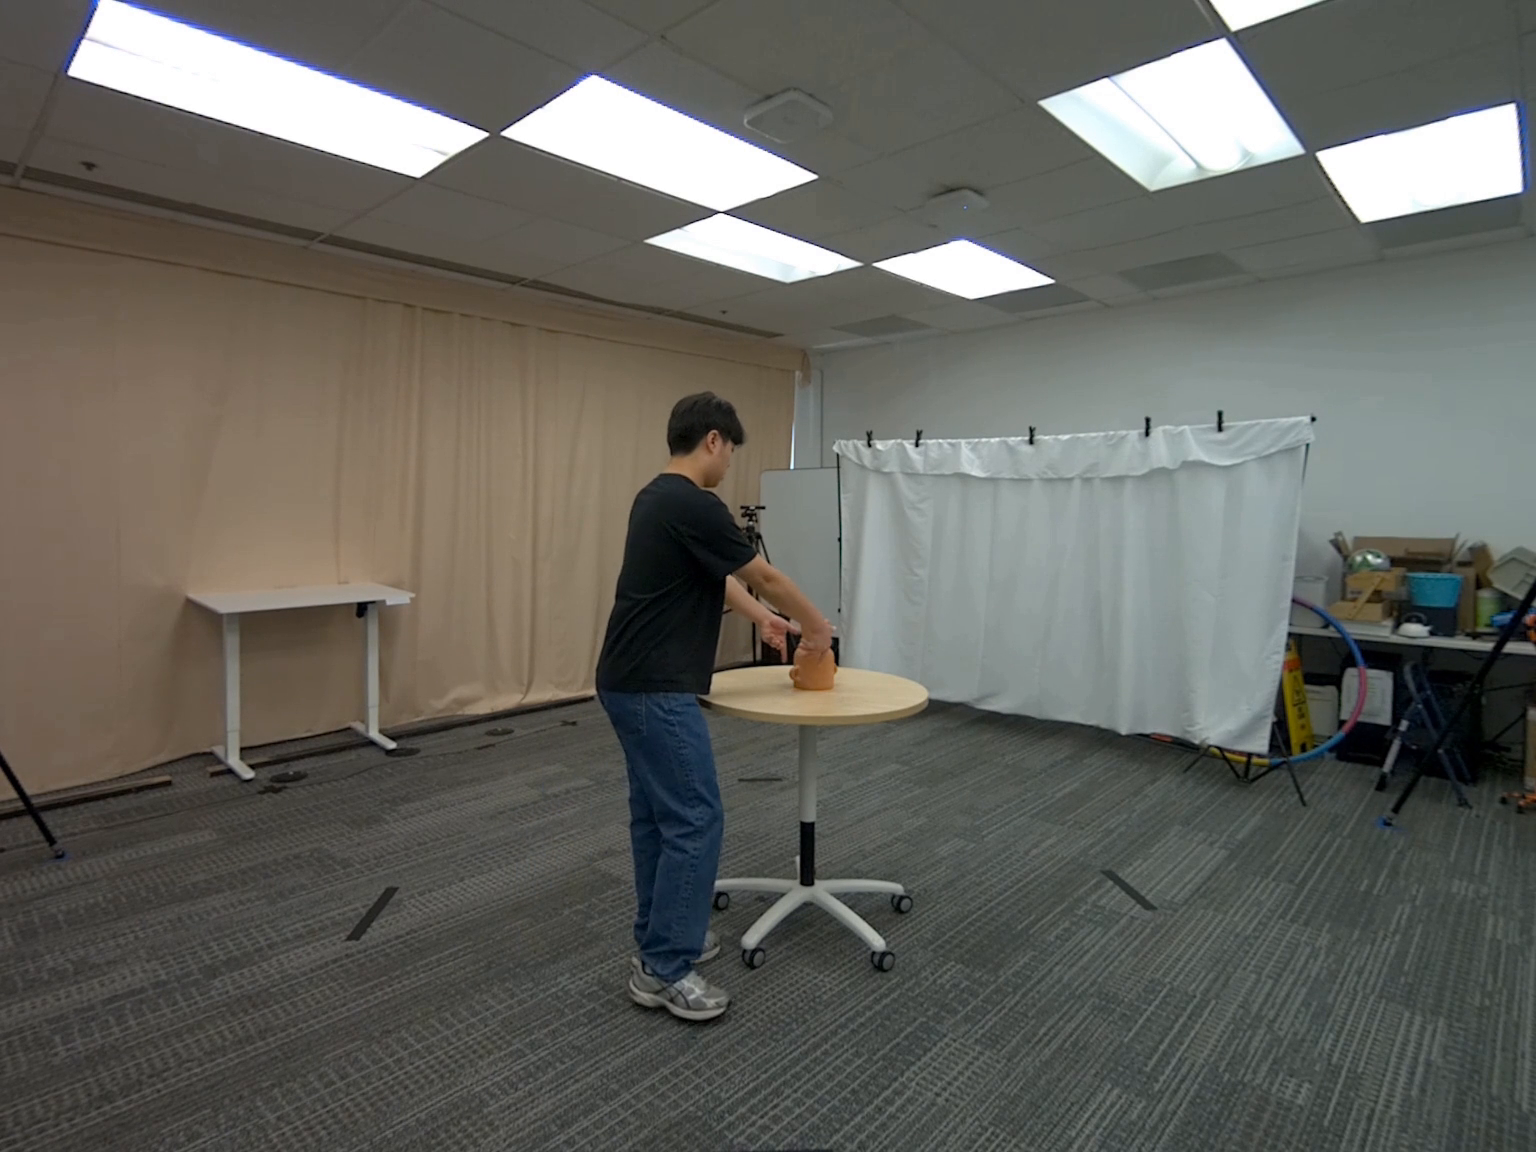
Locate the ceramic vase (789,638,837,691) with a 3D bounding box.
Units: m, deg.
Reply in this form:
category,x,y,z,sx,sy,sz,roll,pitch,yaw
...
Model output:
category,x,y,z,sx,sy,sz,roll,pitch,yaw
ceramic vase,0.161,0.257,2.766,0.137,0.219,0.156,3,5,17
